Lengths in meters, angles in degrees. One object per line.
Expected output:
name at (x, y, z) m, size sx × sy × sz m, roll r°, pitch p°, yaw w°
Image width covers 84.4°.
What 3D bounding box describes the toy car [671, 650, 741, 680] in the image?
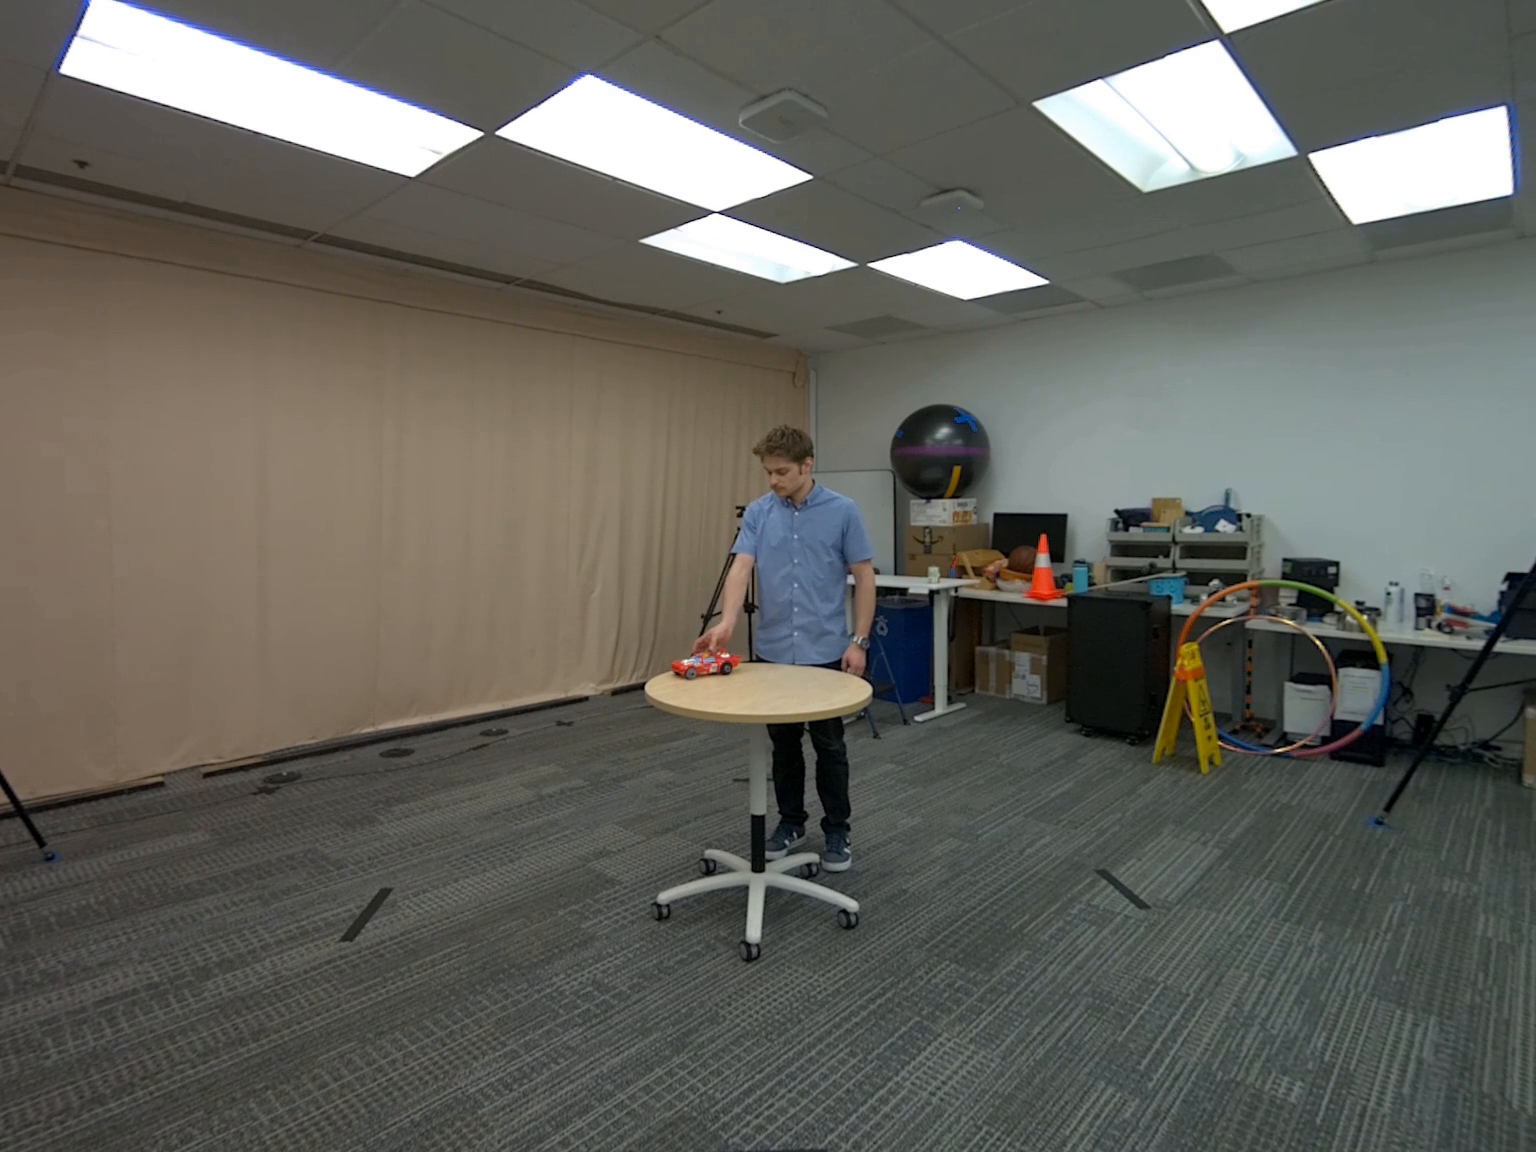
toy car at (-0.216, 0.325, 3.035) m, size 0.249 × 0.082 × 0.134 m, roll -15°, pitch 11°, yaw -29°
